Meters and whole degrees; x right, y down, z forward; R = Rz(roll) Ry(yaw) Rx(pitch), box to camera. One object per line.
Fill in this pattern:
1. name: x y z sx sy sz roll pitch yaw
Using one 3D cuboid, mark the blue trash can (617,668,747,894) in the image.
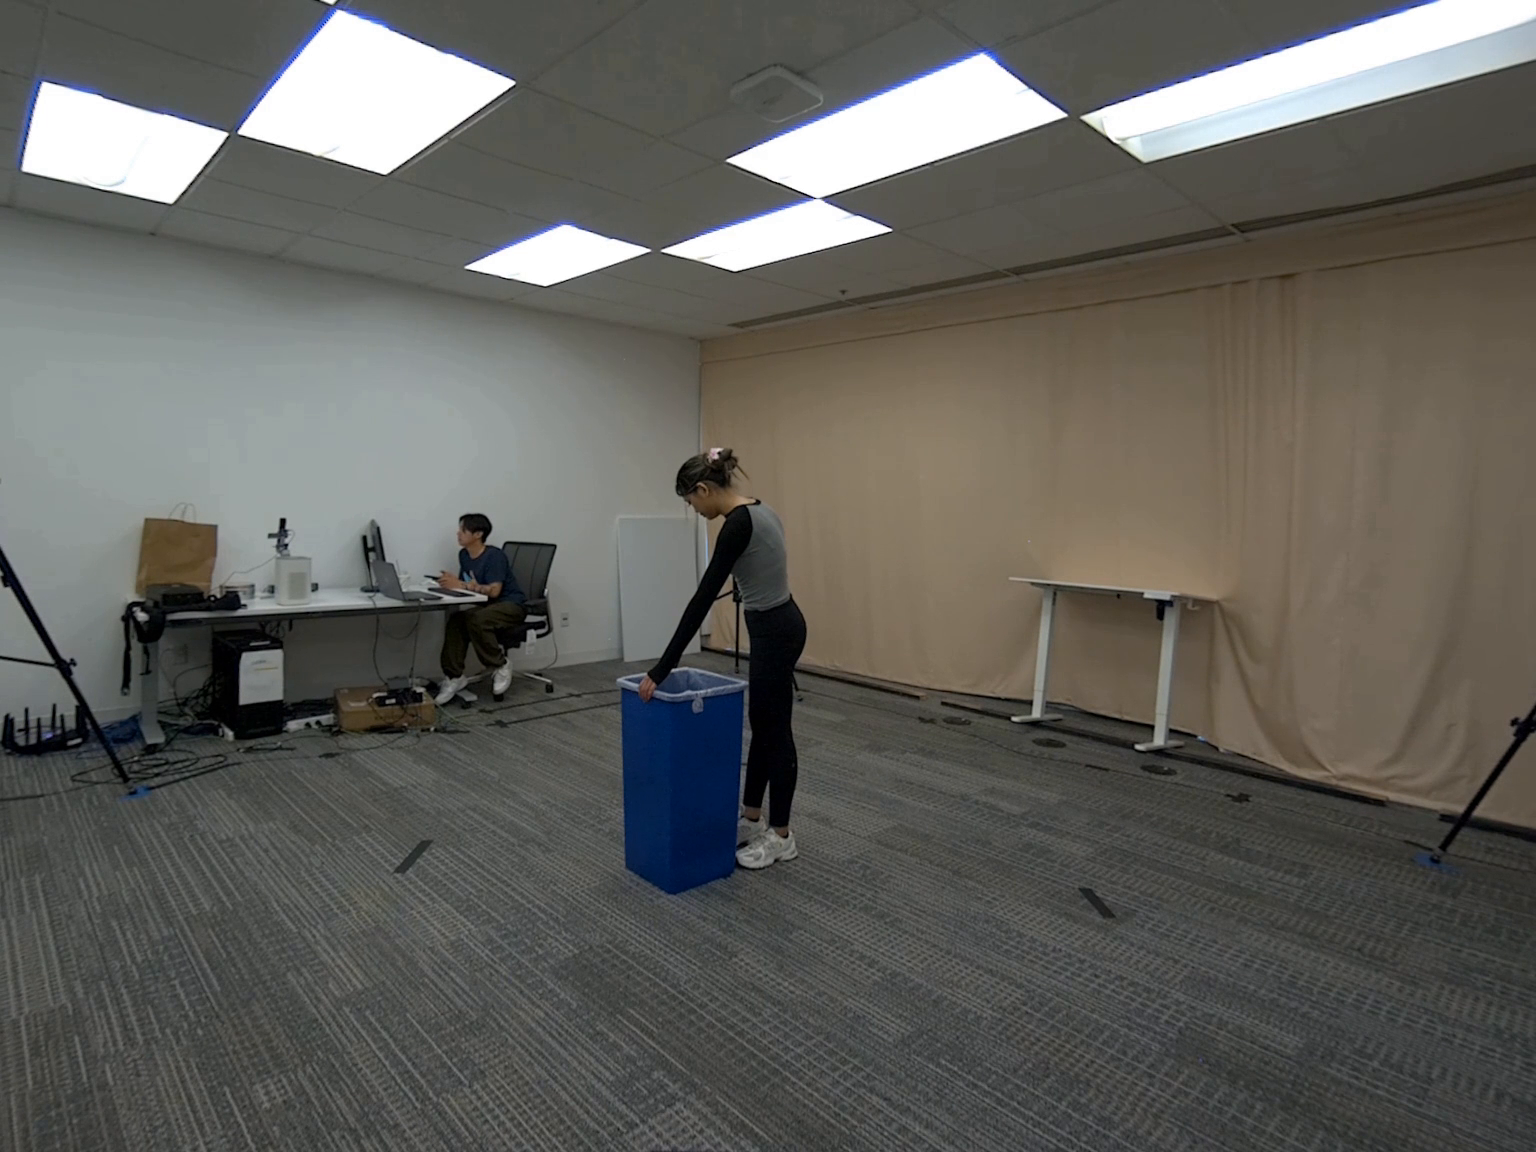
1. blue trash can: -0.338 0.744 3.134 0.369 0.712 0.383 -2 5 -42
